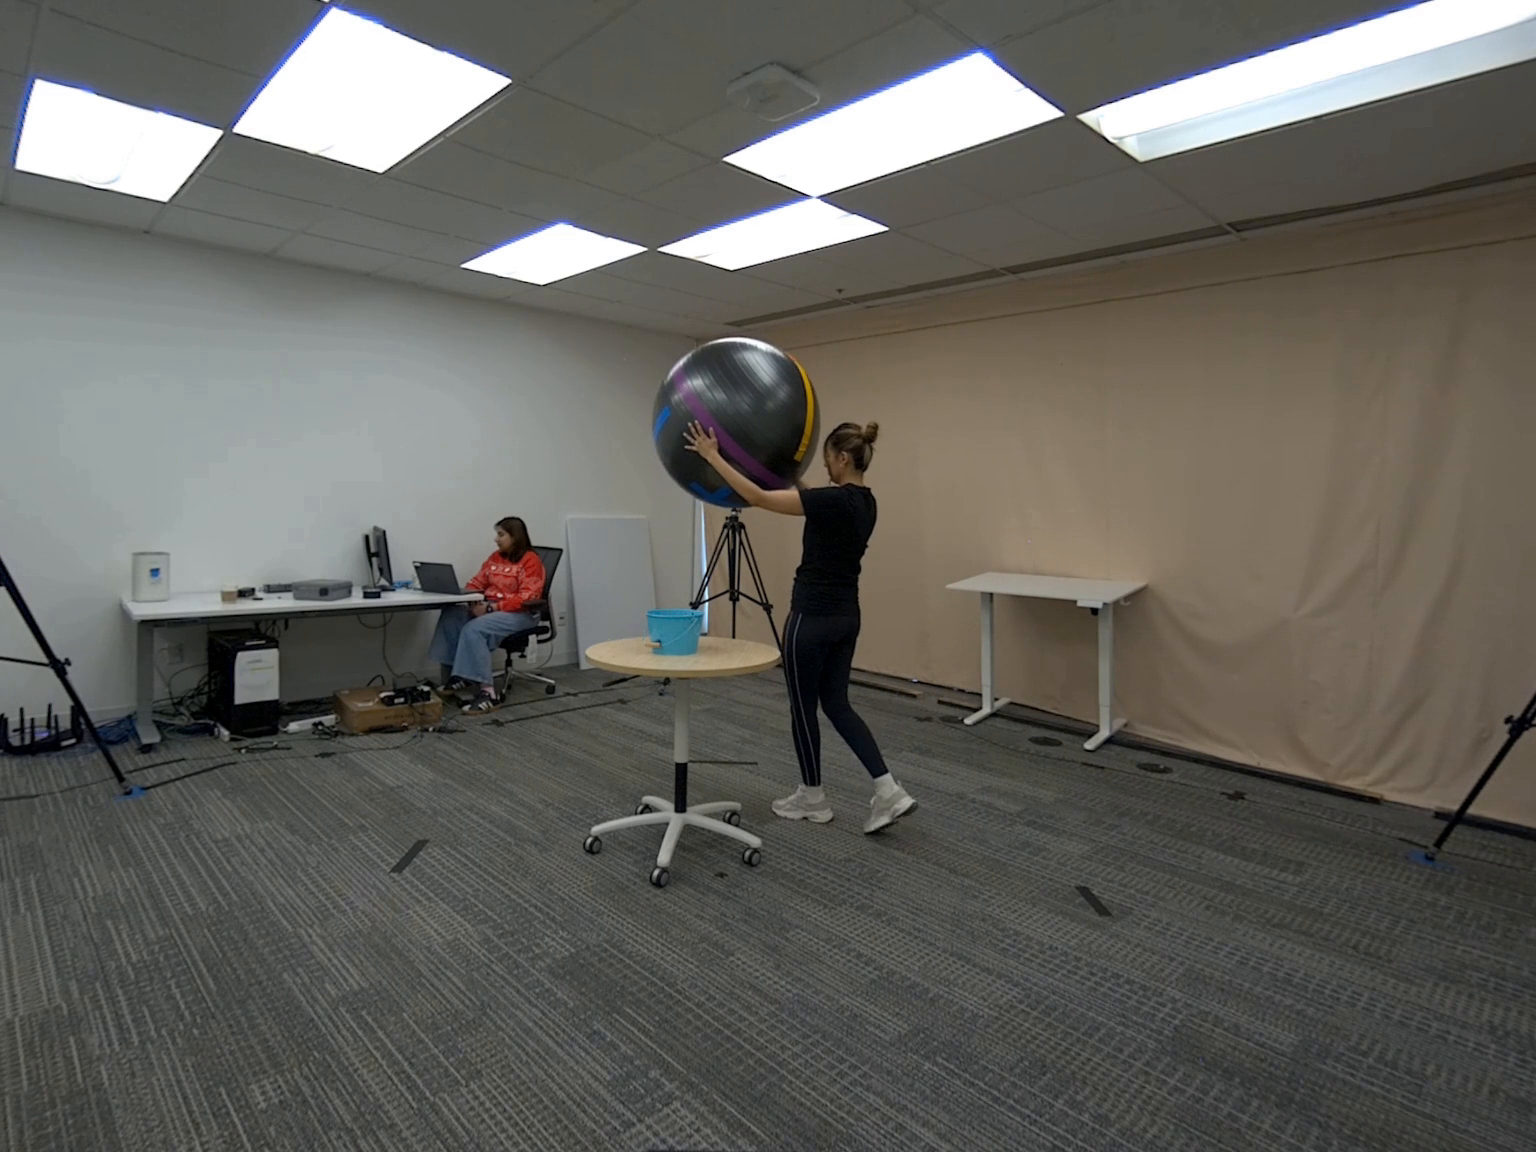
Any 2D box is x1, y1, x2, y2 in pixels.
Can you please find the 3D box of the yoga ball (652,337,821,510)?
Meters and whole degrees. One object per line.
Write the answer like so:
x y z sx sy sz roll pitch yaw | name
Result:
-0.142 -0.680 3.782 0.757 0.756 0.761 1 4 -1 | yoga ball
